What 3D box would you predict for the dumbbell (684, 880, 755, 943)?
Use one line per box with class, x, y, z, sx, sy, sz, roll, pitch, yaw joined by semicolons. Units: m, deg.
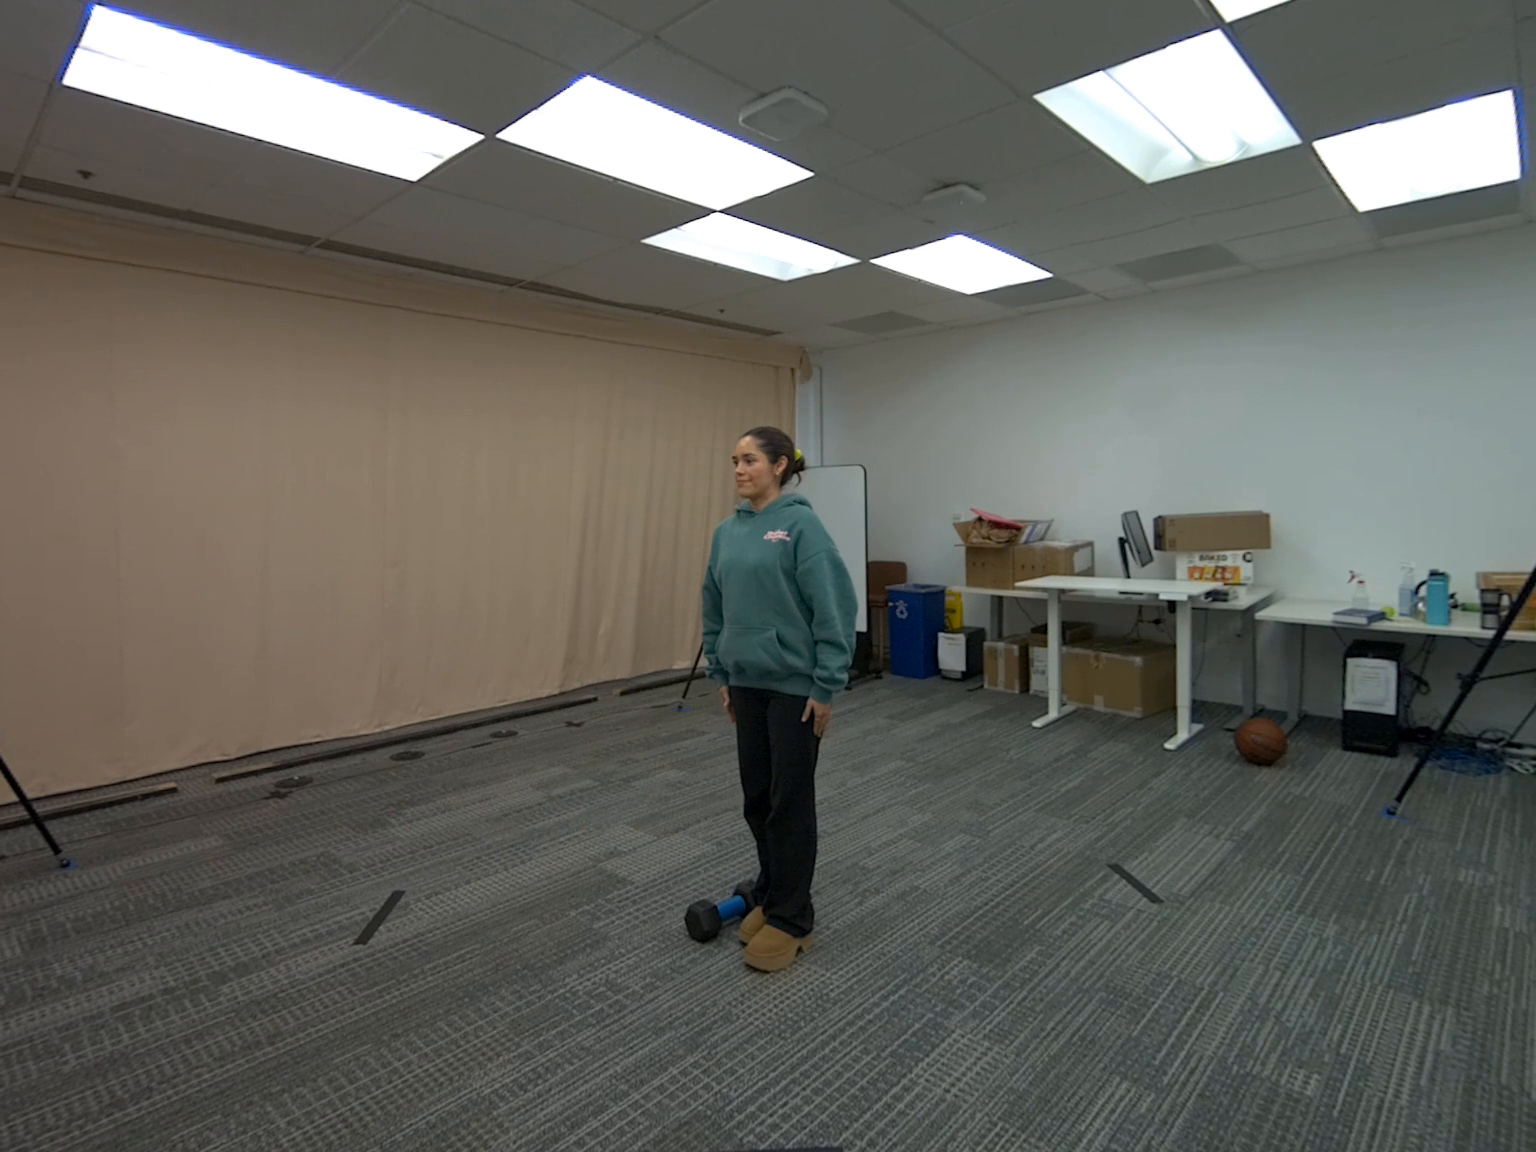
dumbbell;-0.133;1.103;2.785;0.284;0.125;0.110;-3;-27;-42
